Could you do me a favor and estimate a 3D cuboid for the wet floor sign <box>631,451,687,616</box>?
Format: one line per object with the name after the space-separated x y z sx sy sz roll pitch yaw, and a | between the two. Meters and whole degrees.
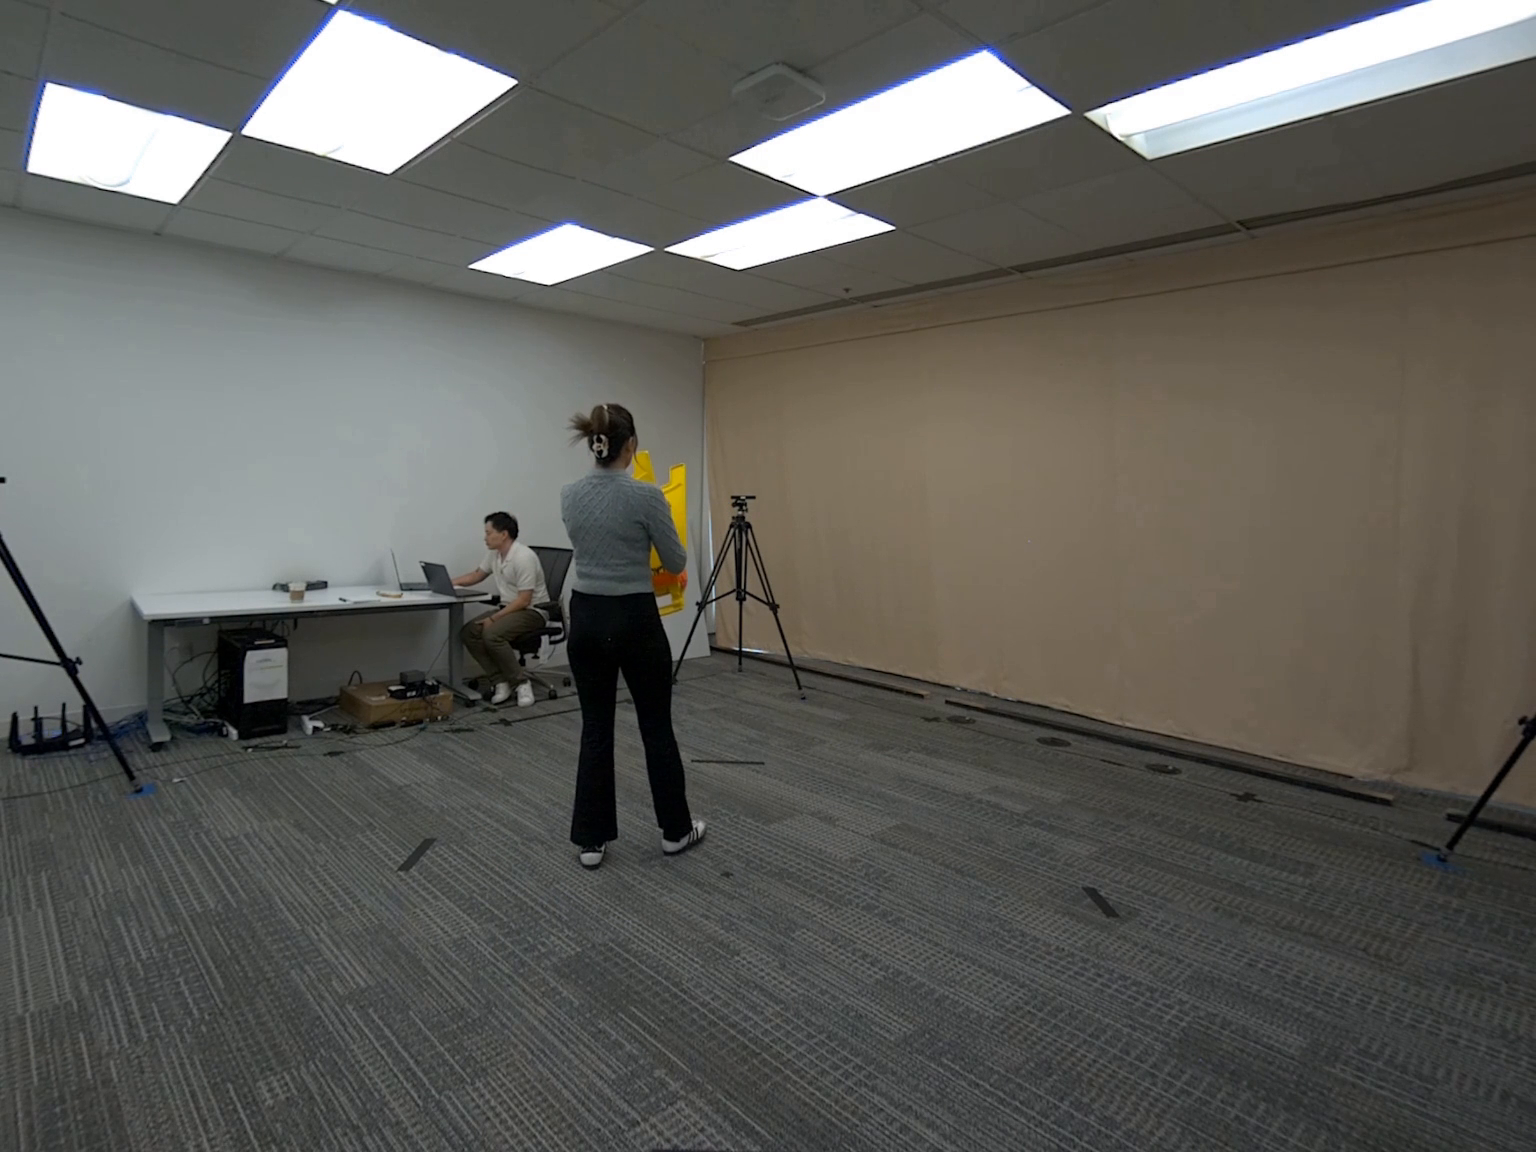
-0.489 -0.152 3.519 0.286 0.653 0.283 -16 -12 25 | wet floor sign
